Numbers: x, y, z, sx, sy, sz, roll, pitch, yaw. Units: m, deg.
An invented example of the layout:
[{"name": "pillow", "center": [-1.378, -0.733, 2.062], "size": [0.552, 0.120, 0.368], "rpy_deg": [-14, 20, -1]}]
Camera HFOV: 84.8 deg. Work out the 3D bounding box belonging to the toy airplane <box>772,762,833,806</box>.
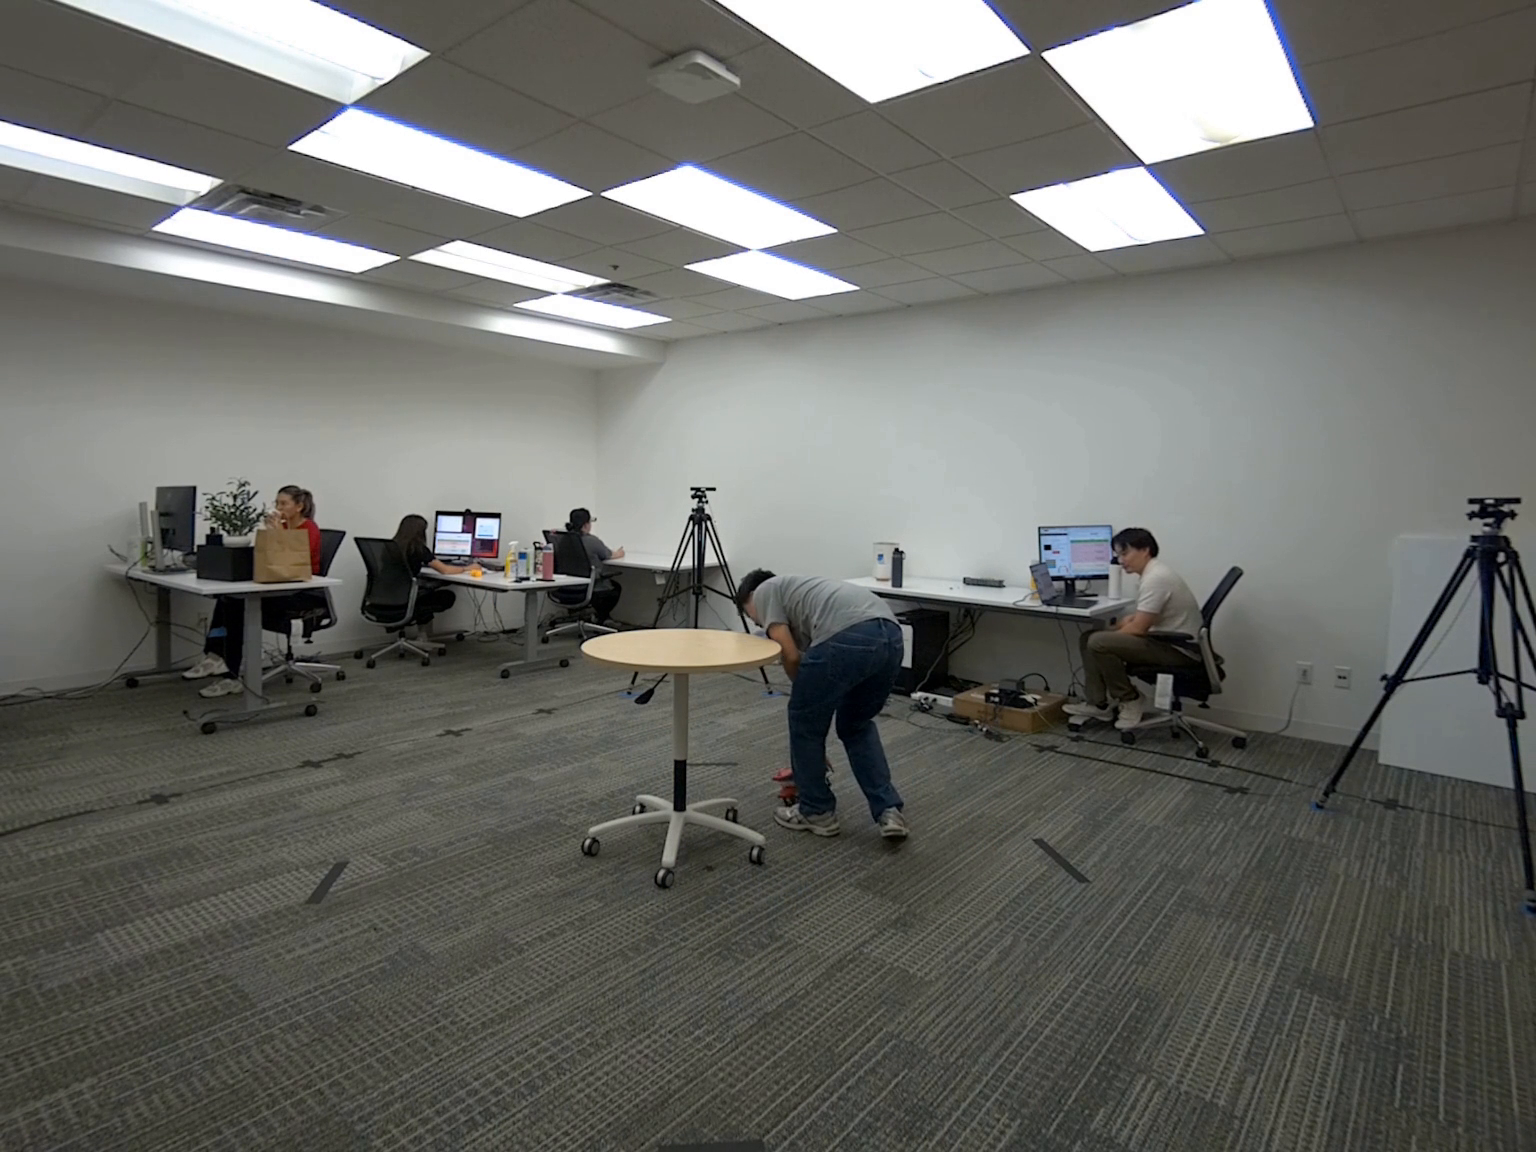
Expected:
[{"name": "toy airplane", "center": [0.149, 0.895, 3.763], "size": [0.260, 0.159, 0.246], "rpy_deg": [-27, -10, 7]}]
